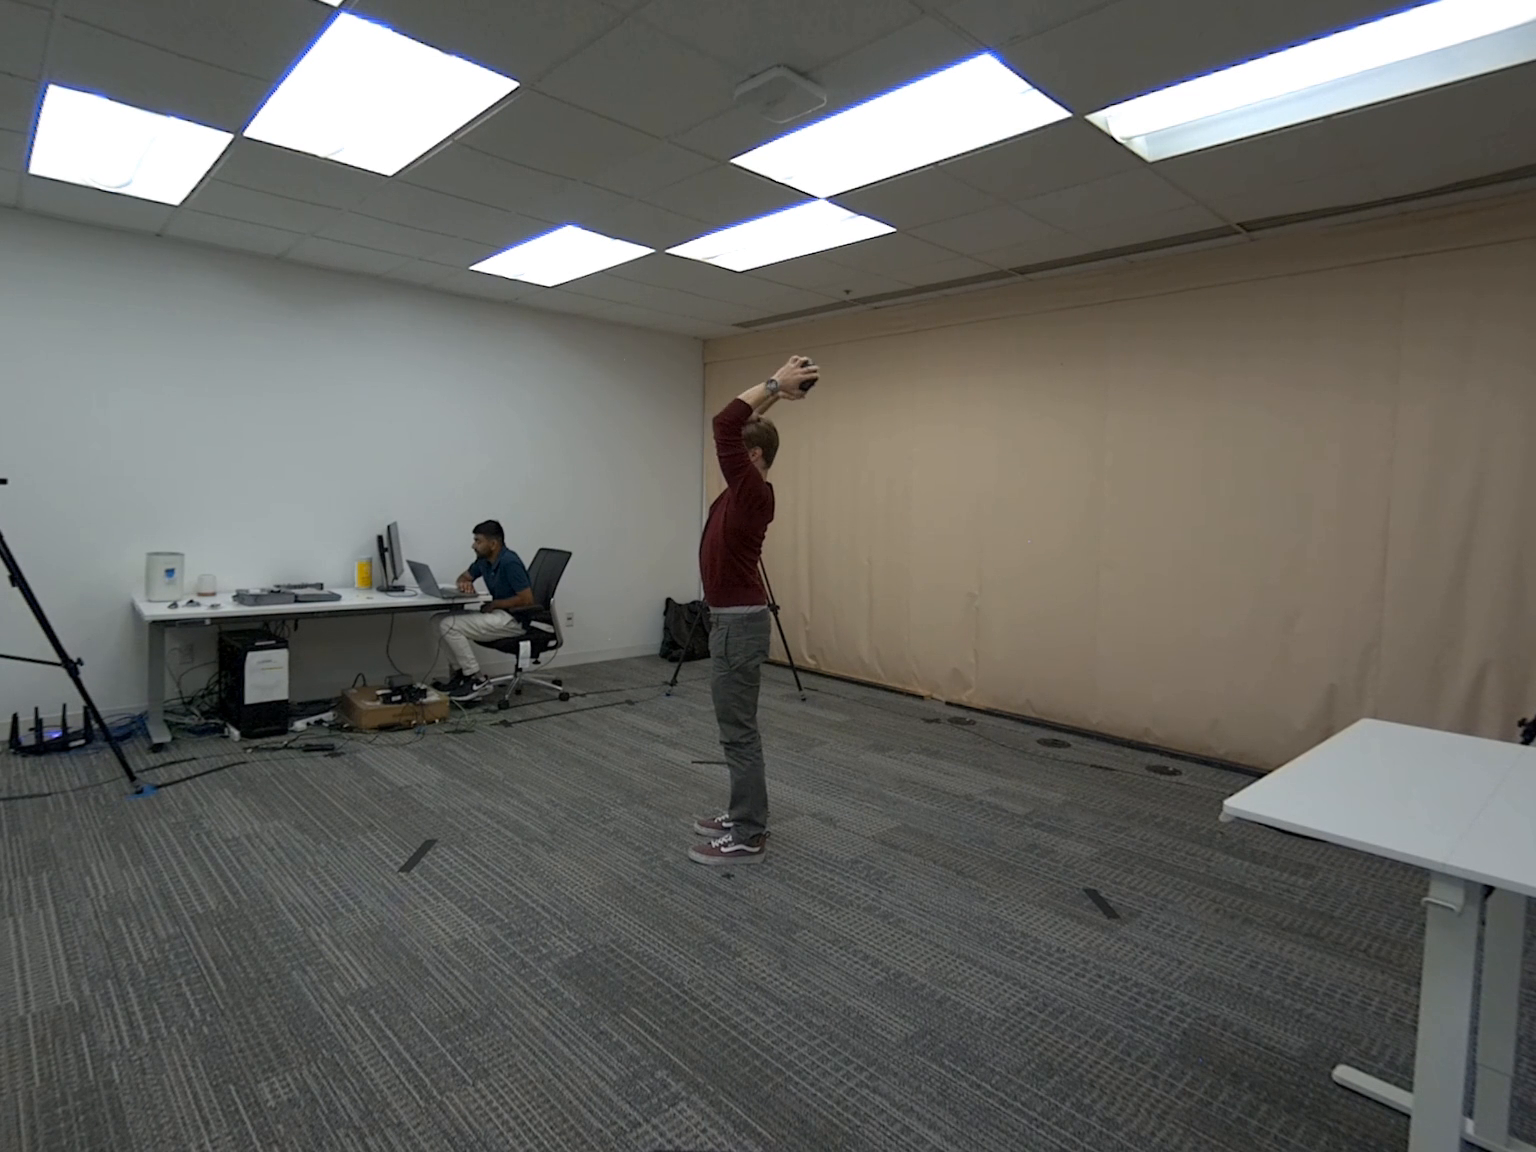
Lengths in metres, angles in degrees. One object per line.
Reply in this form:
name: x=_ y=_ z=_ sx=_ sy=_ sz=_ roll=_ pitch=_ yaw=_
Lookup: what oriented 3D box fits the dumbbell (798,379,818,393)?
dumbbell: x=0.104 y=-0.755 z=3.222 sx=0.123 sy=0.108 sz=0.294 roll=14 pitch=10 yaw=1
